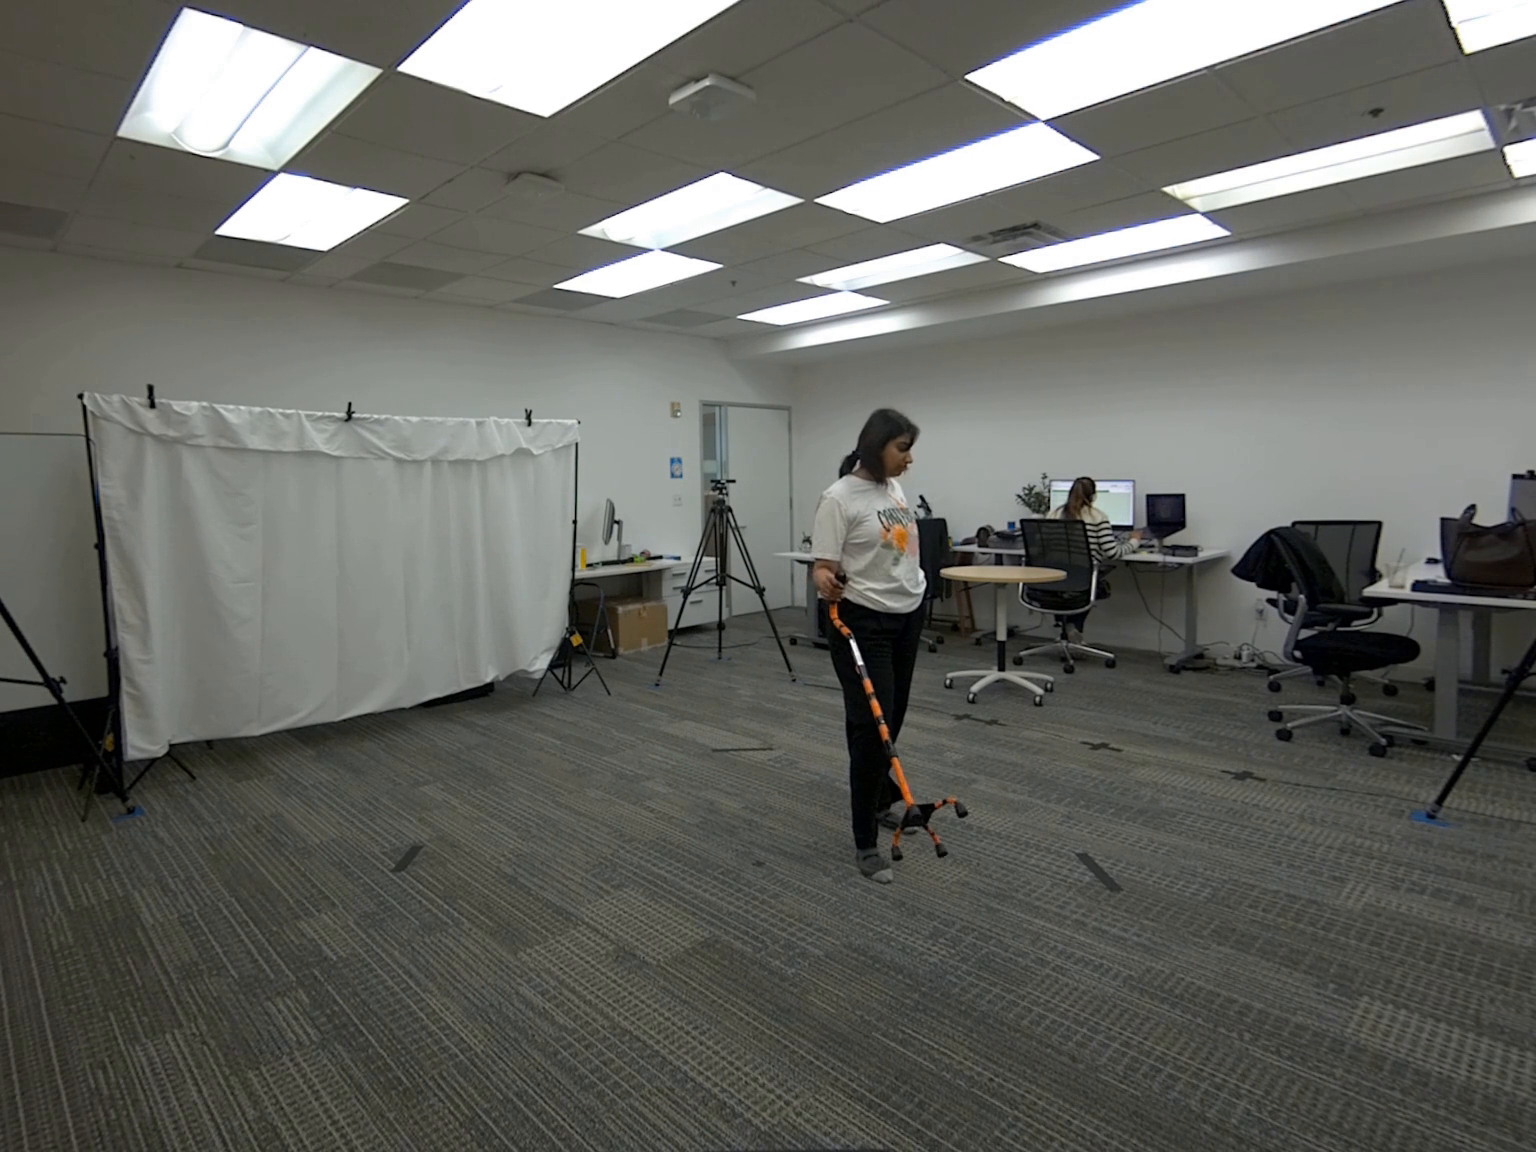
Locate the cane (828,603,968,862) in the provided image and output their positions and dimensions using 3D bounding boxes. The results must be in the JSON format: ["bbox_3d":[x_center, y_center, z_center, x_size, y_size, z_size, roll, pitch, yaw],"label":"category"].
[{"bbox_3d":[0.314,0.362,2.505,0.150,0.202,0.938,-1,40,-12],"label":"cane"}]
